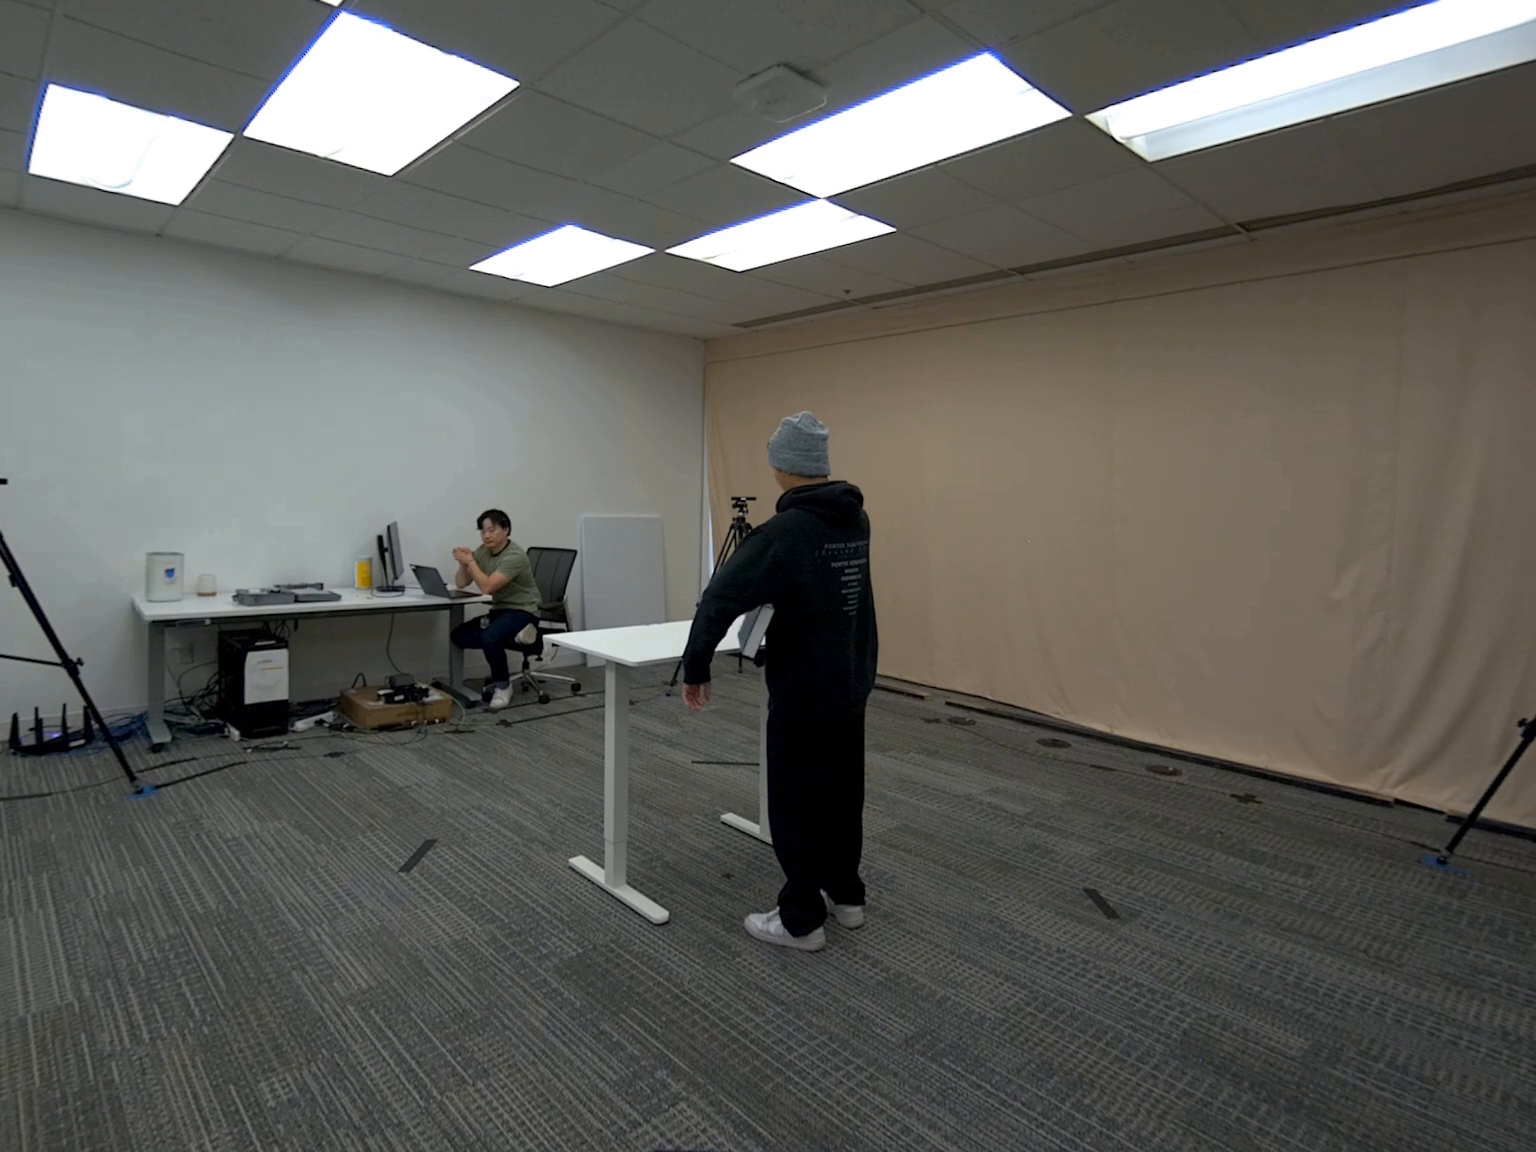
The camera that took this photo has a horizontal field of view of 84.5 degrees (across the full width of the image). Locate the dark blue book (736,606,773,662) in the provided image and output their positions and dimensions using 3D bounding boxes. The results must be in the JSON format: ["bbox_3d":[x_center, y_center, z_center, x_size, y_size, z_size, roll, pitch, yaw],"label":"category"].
[{"bbox_3d":[-0.041,0.150,2.616,0.045,0.163,0.246,24,7,-3],"label":"dark blue book"}]
